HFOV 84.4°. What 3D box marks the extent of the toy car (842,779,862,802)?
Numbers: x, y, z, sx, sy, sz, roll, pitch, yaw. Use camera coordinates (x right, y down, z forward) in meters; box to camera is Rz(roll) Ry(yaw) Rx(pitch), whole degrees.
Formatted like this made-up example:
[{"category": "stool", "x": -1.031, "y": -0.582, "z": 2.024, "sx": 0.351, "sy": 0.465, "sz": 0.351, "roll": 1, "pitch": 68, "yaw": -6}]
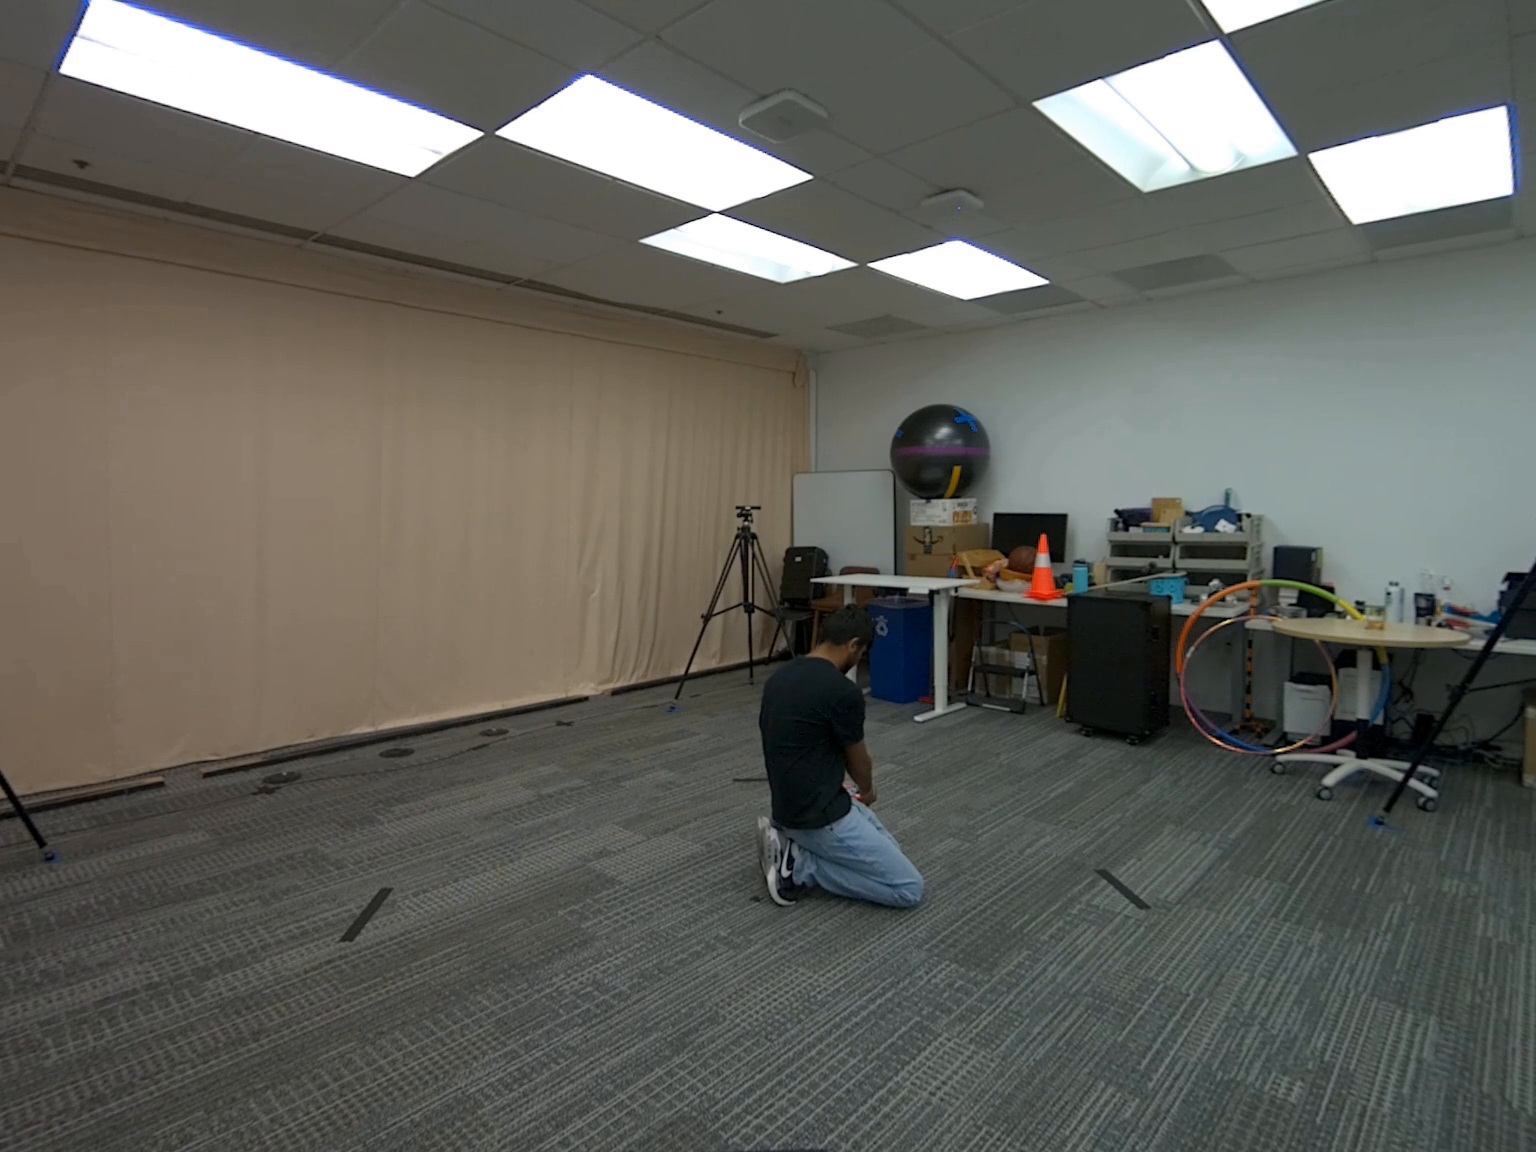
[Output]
[{"category": "toy car", "x": 0.315, "y": 0.916, "z": 3.513, "sx": 0.126, "sy": 0.083, "sz": 0.263, "roll": 2, "pitch": 7, "yaw": -42}]
